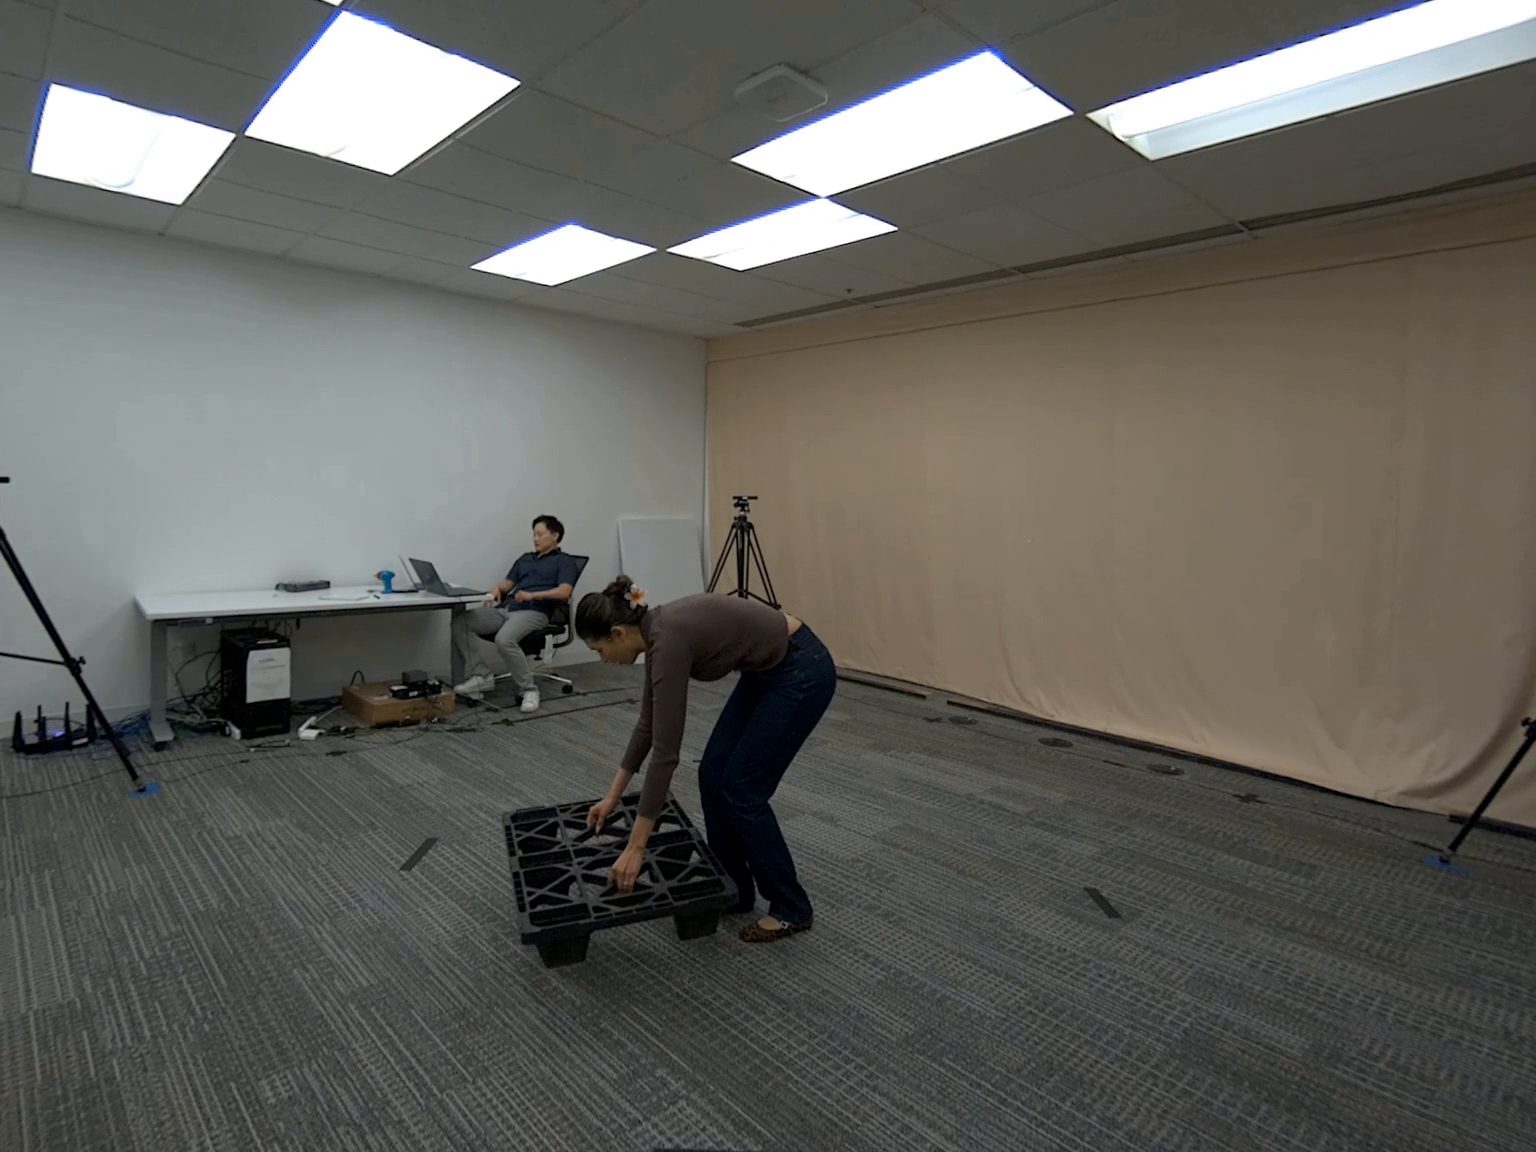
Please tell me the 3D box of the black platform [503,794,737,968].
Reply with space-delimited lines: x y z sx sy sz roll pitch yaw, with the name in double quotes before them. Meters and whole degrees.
"black platform" -0.507 0.918 2.625 0.597 0.142 0.821 -5 8 -19
